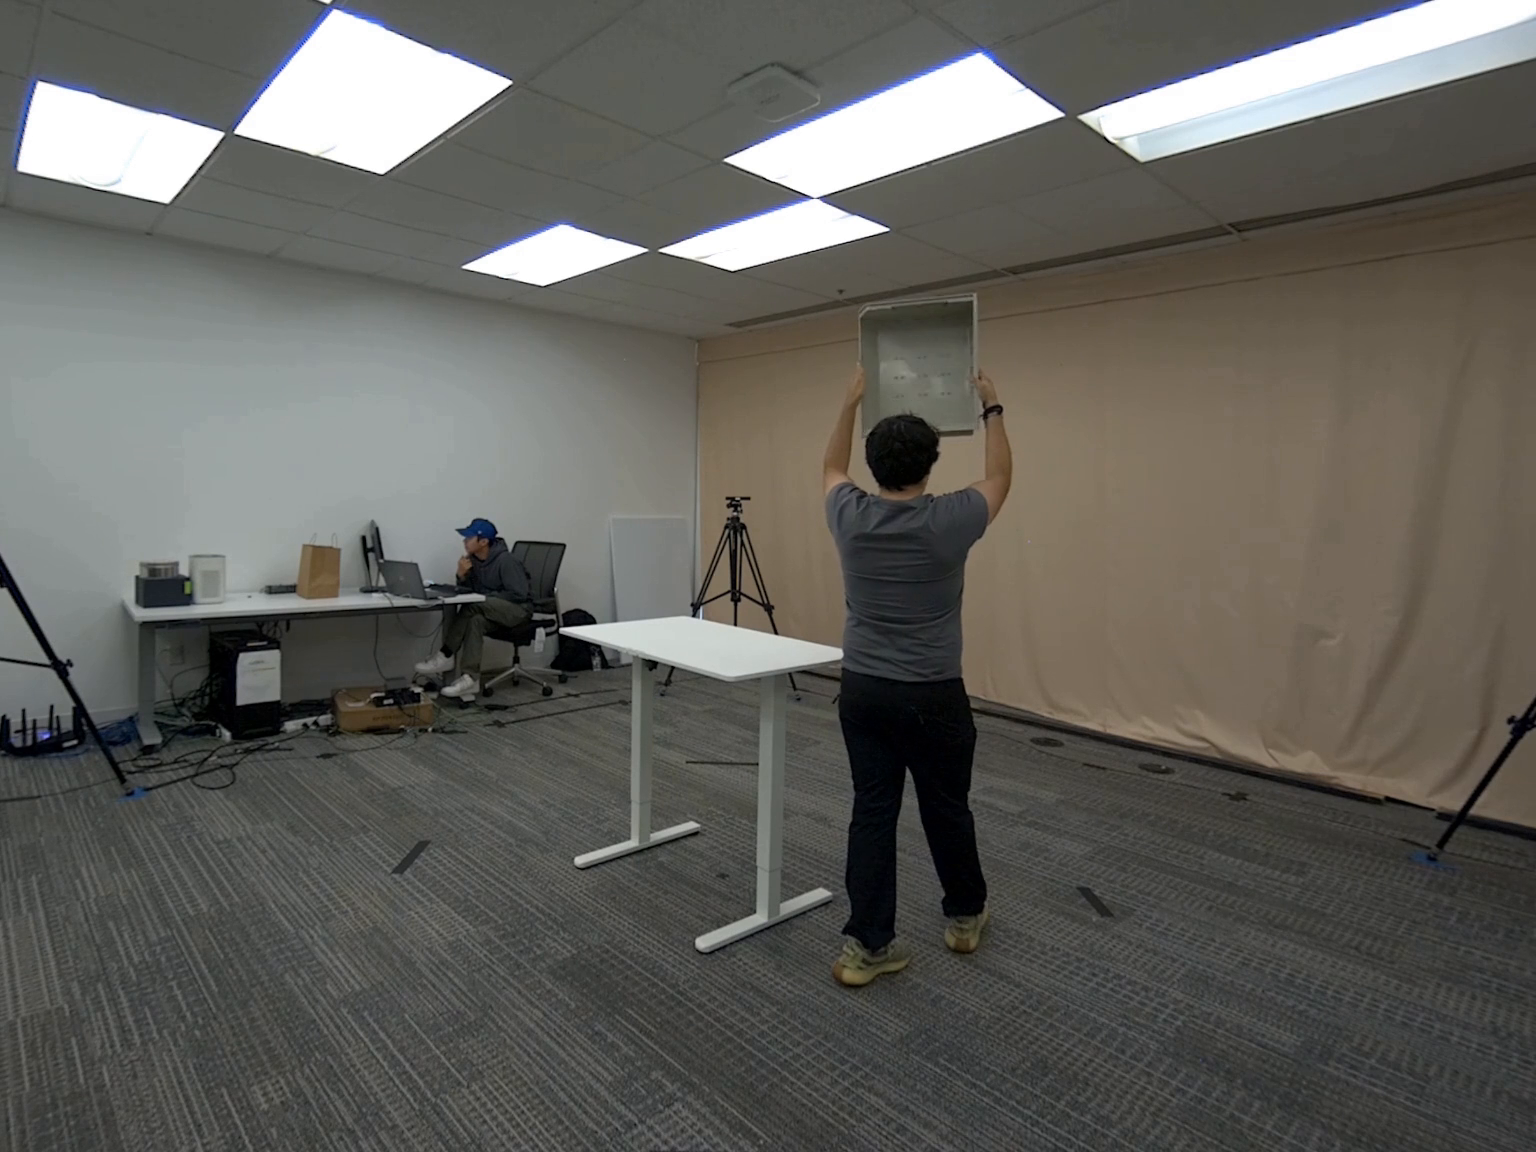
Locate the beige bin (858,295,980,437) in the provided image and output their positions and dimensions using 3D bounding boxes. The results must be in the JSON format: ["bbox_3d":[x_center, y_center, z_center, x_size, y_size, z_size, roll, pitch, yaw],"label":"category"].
[{"bbox_3d":[0.475,-0.663,2.736,0.382,0.422,0.186,0,-1,15],"label":"beige bin"}]
